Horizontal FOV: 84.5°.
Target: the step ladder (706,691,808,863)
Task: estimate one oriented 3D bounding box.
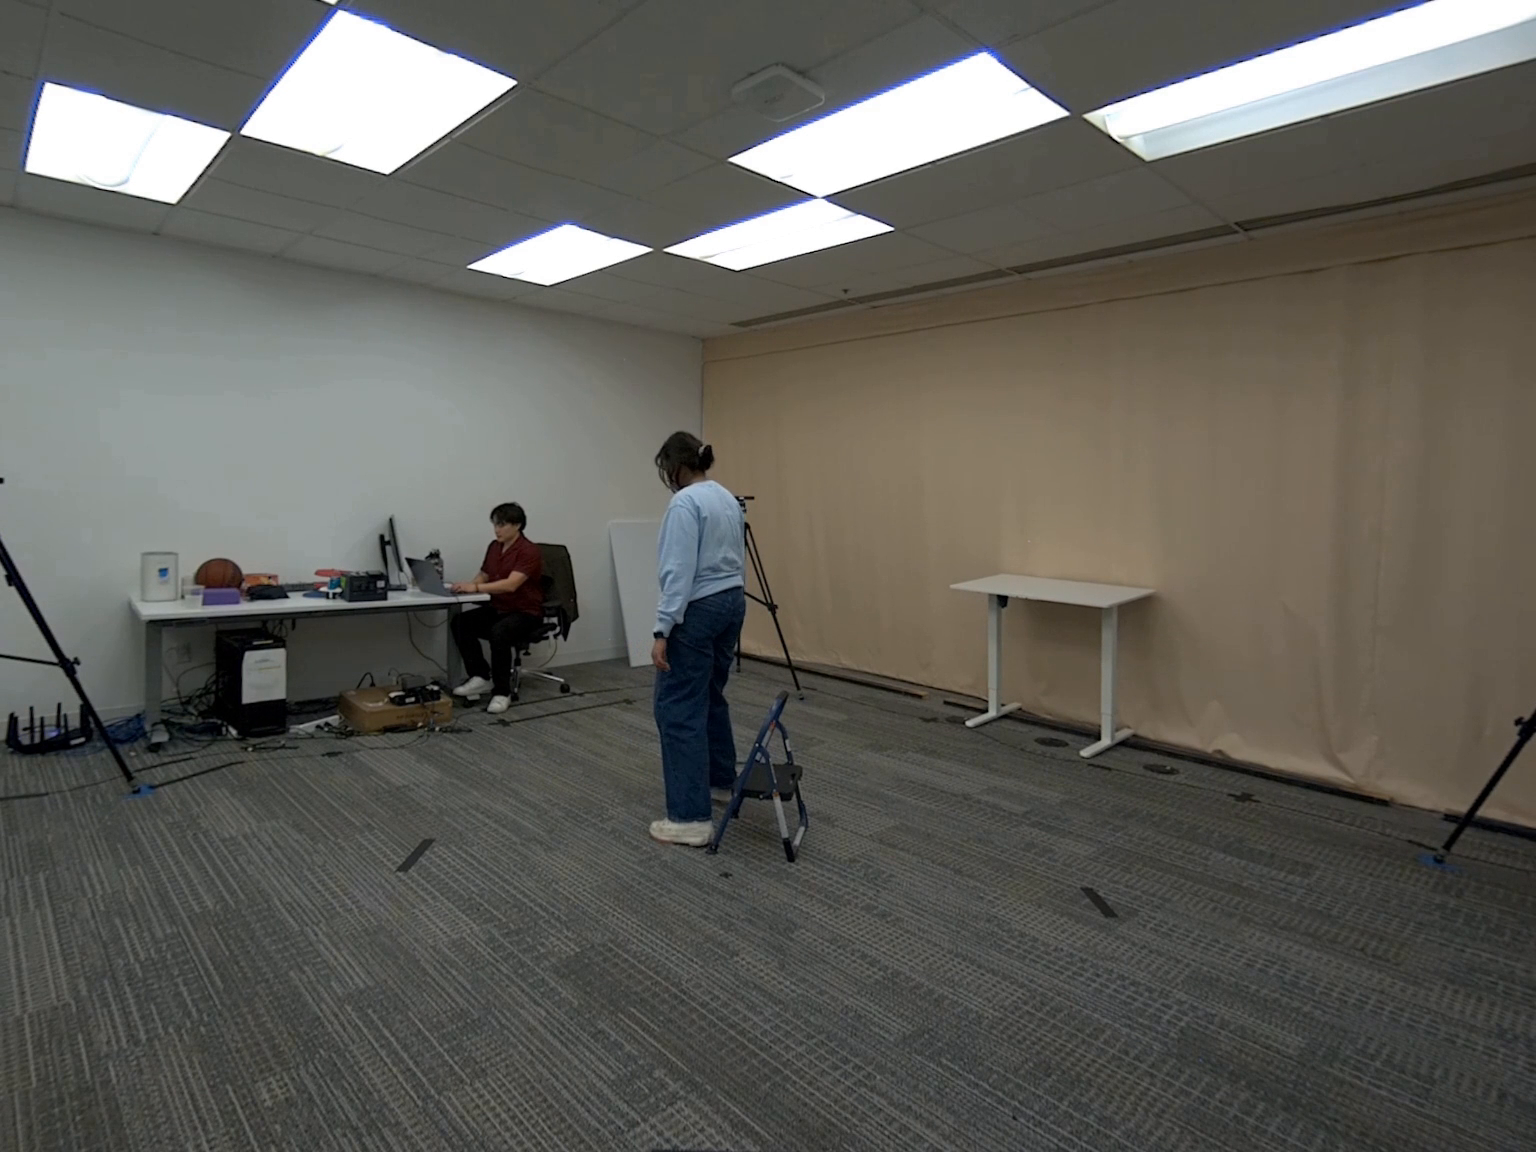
[{"bbox_3d":[-0.030,0.776,3.442,0.353,0.605,0.427,1,3,11],"label":"step ladder"}]
